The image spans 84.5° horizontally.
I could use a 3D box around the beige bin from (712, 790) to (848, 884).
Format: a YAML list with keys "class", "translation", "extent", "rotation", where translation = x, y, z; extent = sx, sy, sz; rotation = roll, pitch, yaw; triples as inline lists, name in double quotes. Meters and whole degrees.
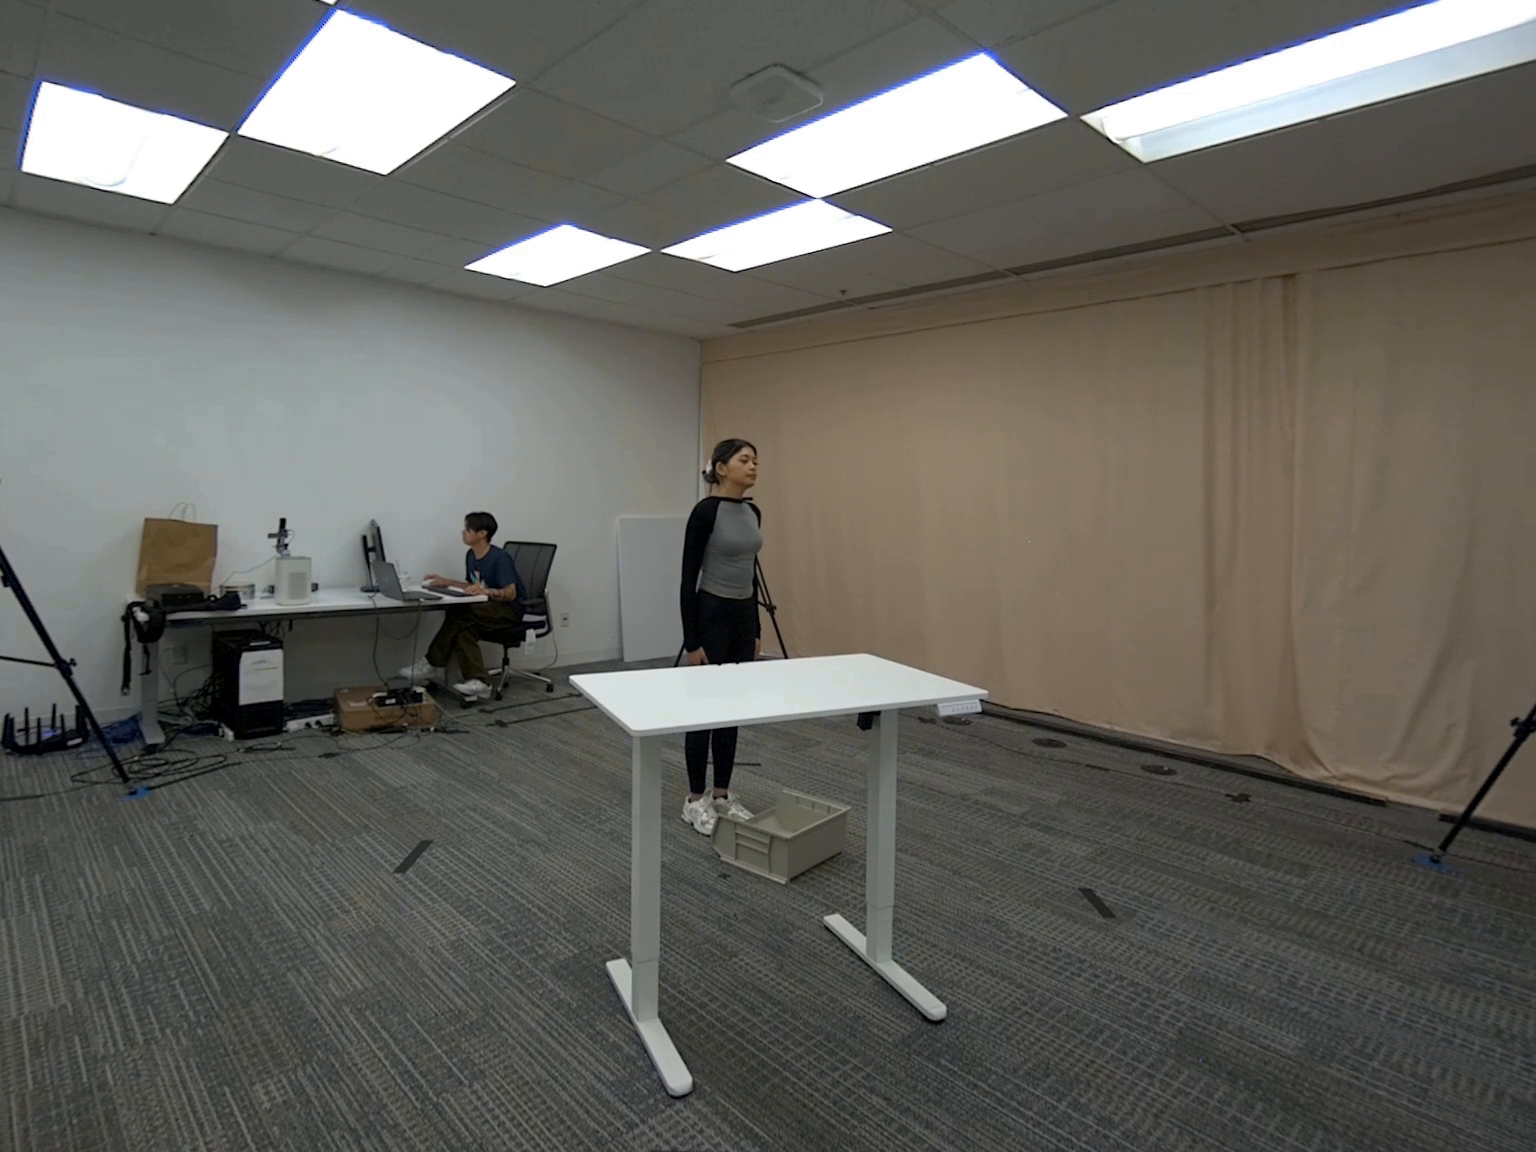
- class: "beige bin"
  translation: [0.048, 1.005, 3.305]
  extent: [0.387, 0.188, 0.413]
  rotation: [6, 6, 39]
